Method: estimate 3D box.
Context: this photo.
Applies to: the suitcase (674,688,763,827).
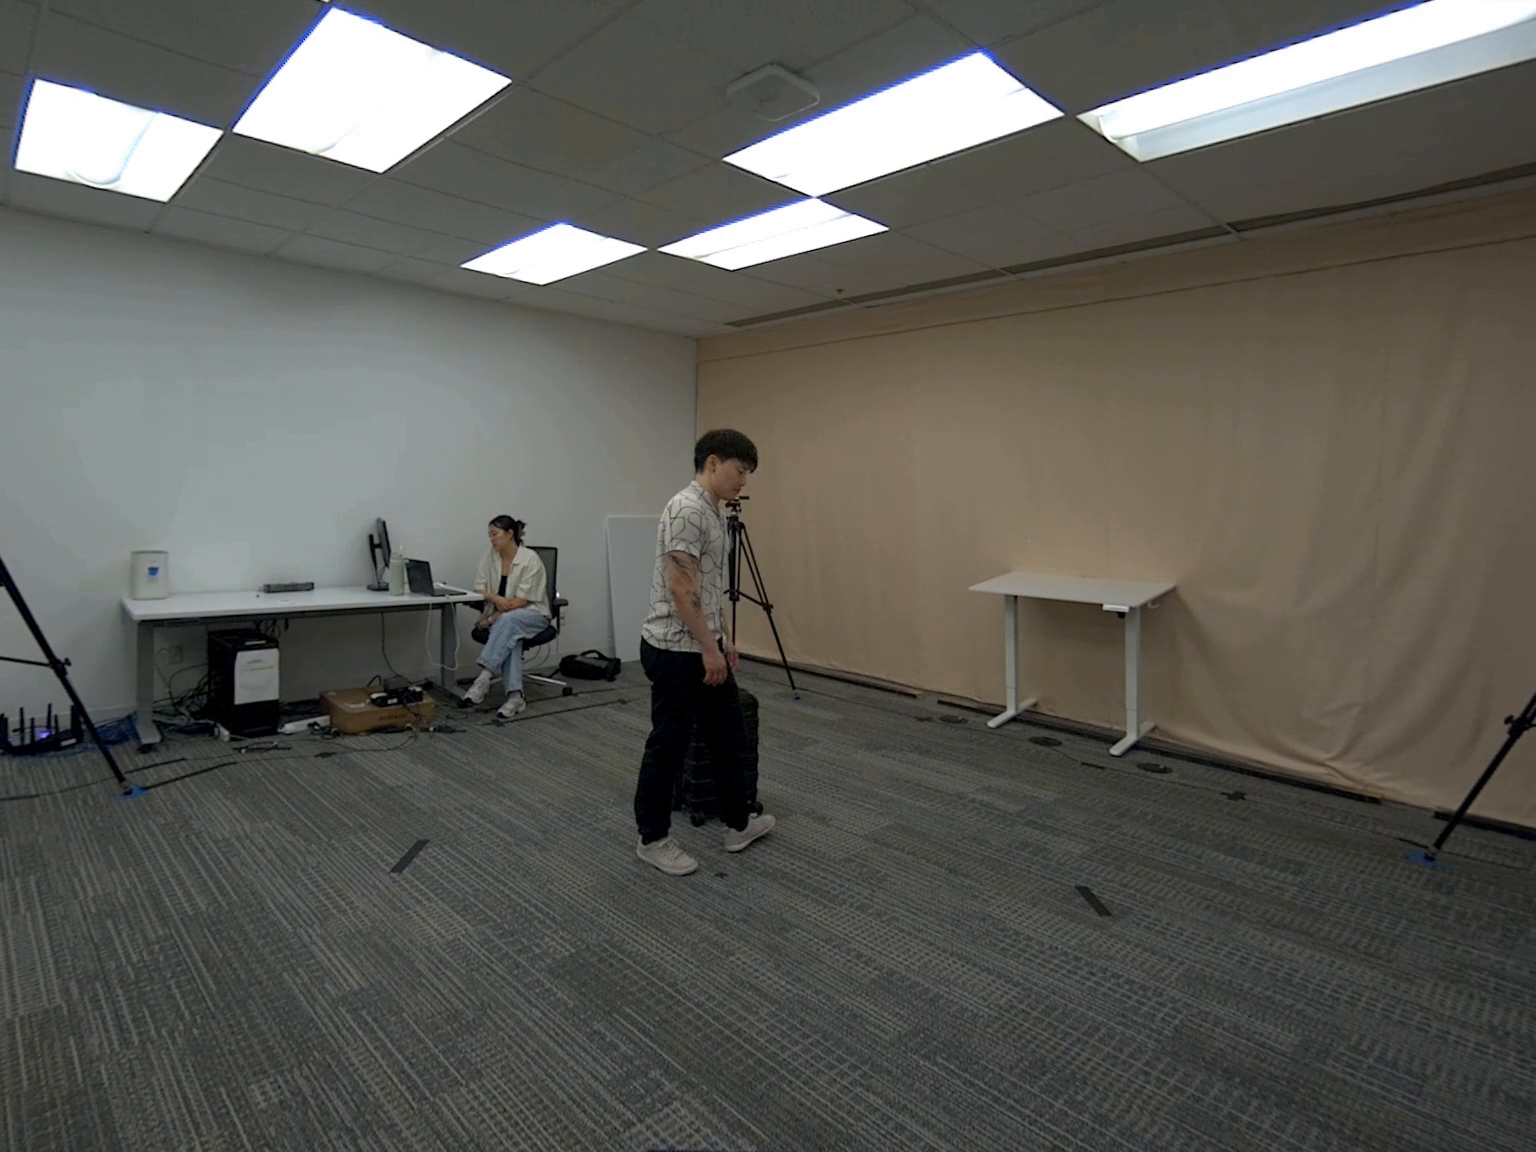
[{"bbox_3d":[-0.243,0.769,3.740,0.368,0.548,0.254,-1,3,-32],"label":"suitcase"}]
